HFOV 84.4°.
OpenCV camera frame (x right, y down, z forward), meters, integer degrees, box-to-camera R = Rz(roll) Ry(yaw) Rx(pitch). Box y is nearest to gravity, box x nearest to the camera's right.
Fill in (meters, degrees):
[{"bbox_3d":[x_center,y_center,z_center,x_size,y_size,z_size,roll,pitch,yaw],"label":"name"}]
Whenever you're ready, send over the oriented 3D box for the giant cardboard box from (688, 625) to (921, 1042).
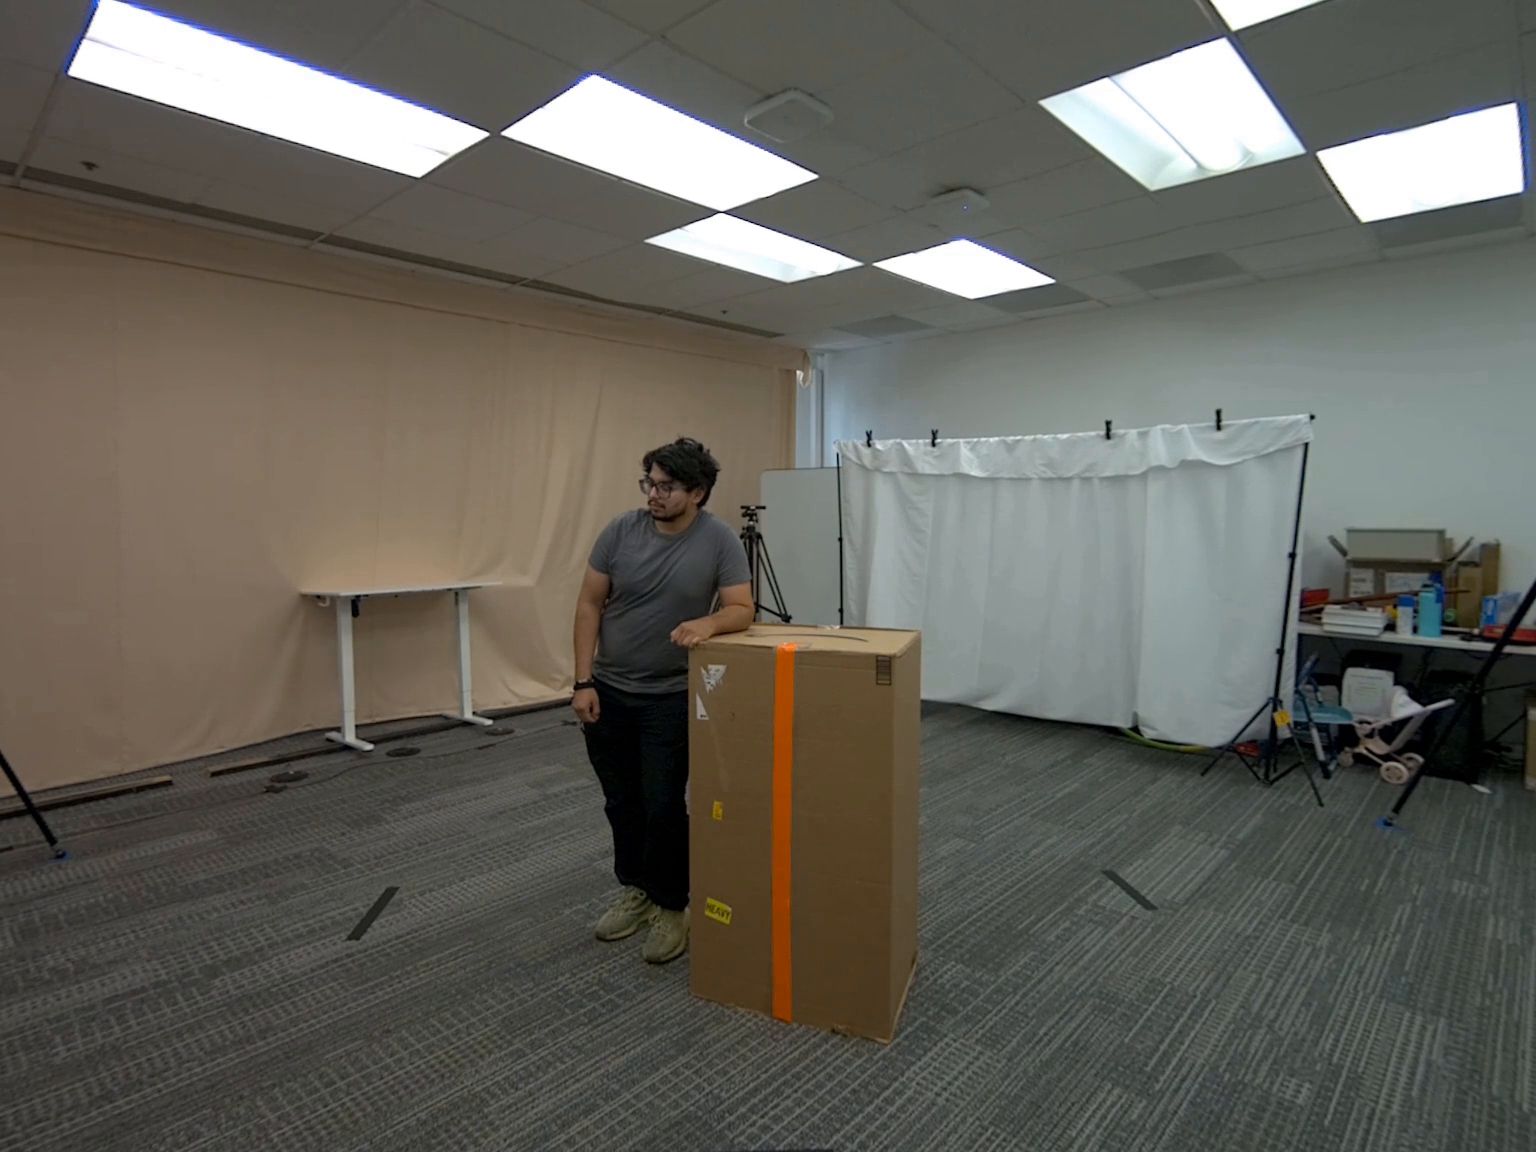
[{"bbox_3d":[0.125,0.682,2.442,0.591,1.024,0.417,1,3,23],"label":"giant cardboard box"}]
